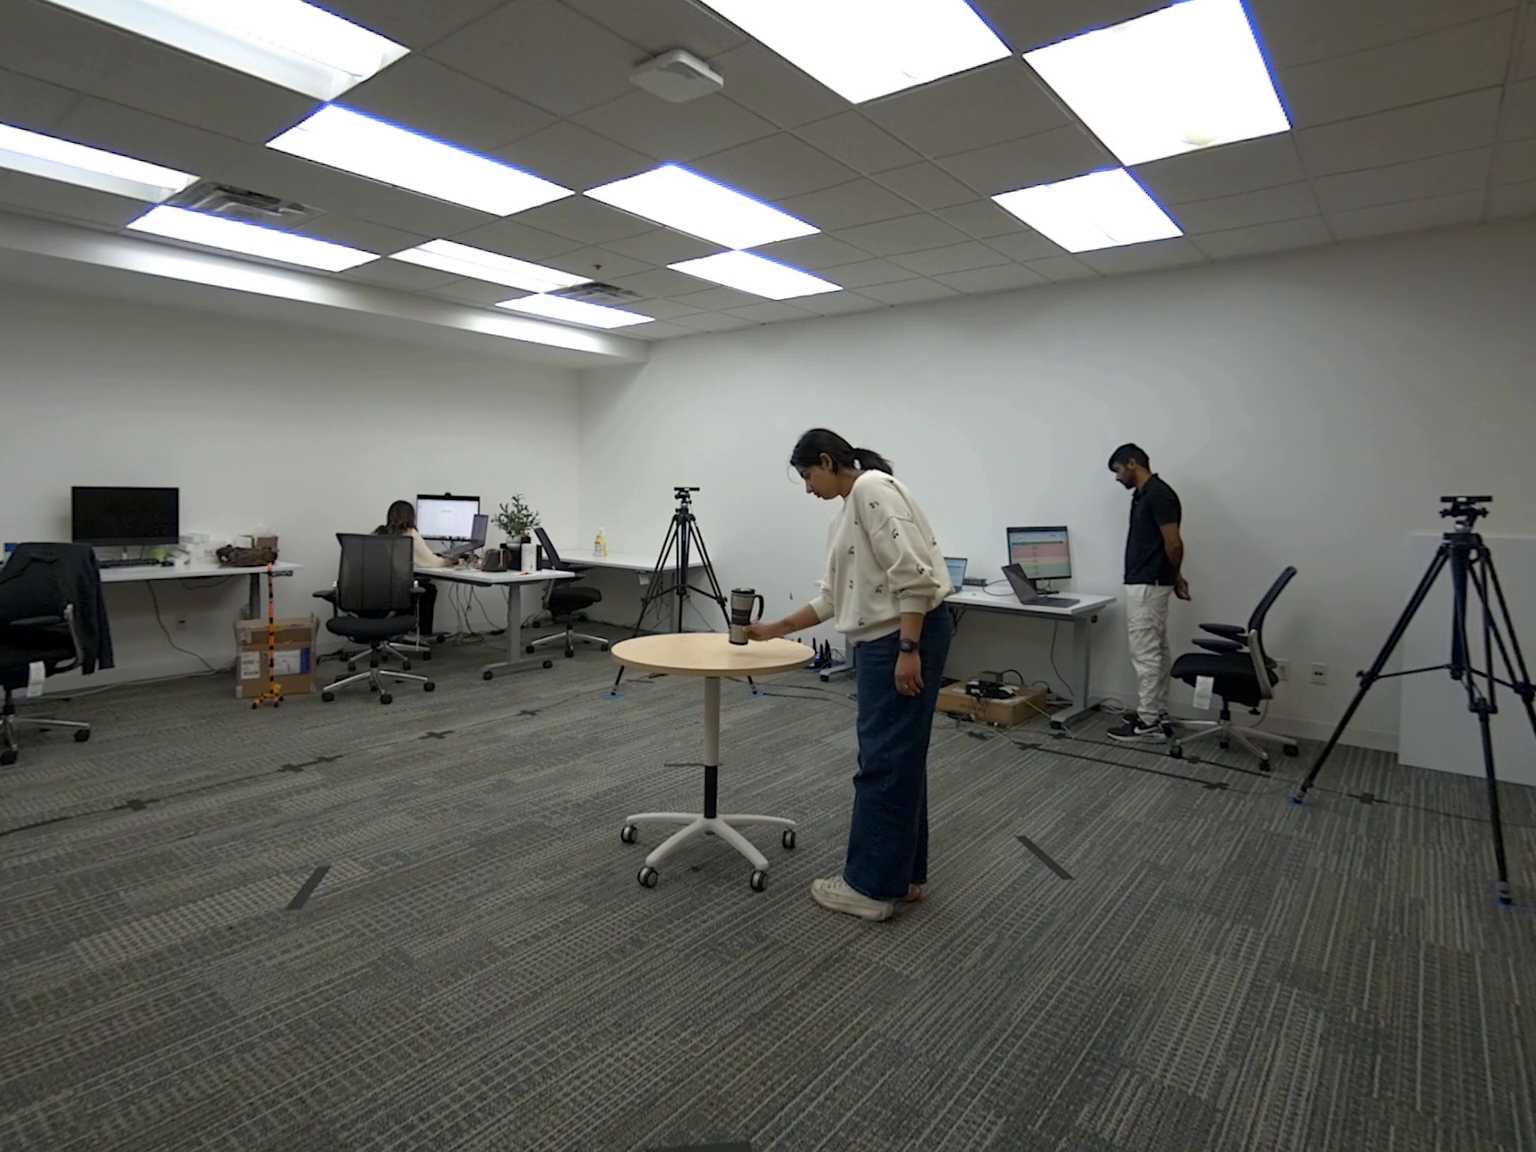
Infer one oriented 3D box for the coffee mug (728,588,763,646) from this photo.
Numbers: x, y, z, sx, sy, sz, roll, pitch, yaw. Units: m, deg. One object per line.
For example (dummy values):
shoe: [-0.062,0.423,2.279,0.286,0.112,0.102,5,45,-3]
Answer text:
coffee mug: [-0.126,0.143,3.116,0.121,0.202,0.089,9,6,-8]
